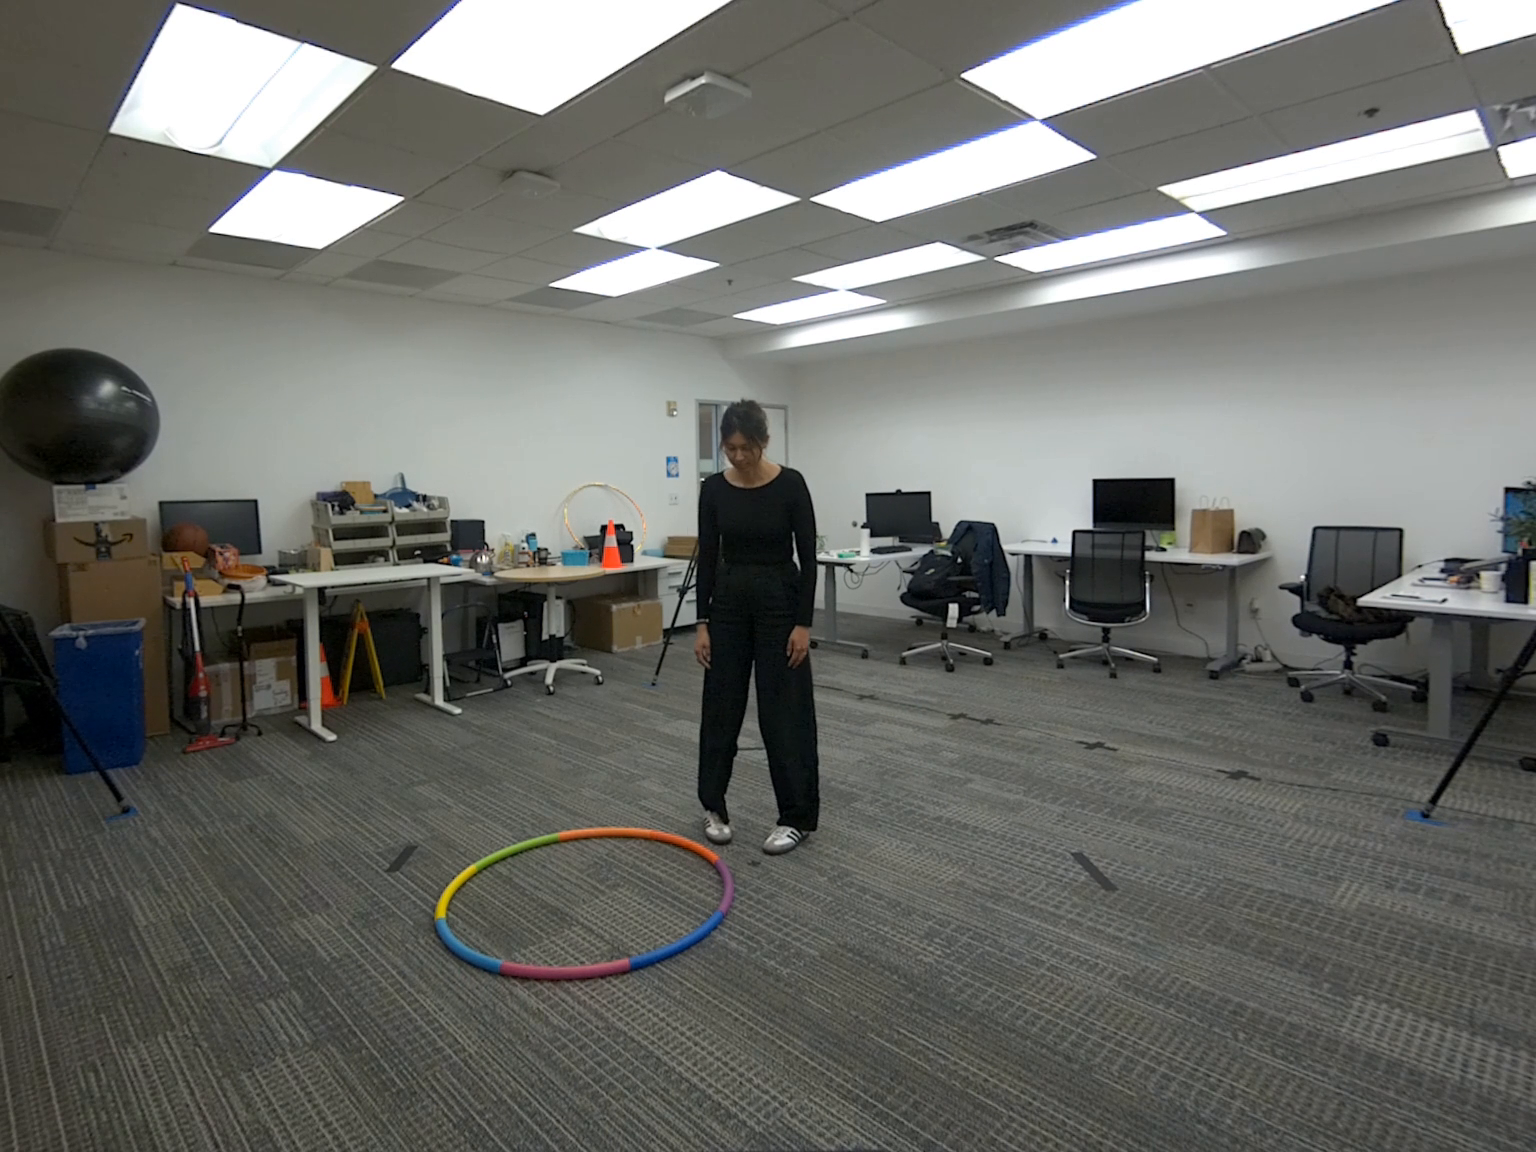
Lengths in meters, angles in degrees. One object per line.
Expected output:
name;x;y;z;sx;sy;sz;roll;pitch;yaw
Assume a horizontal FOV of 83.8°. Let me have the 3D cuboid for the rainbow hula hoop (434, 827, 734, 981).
rainbow hula hoop;-0.601;1.051;2.886;0.978;0.035;0.984;-1;7;-2
